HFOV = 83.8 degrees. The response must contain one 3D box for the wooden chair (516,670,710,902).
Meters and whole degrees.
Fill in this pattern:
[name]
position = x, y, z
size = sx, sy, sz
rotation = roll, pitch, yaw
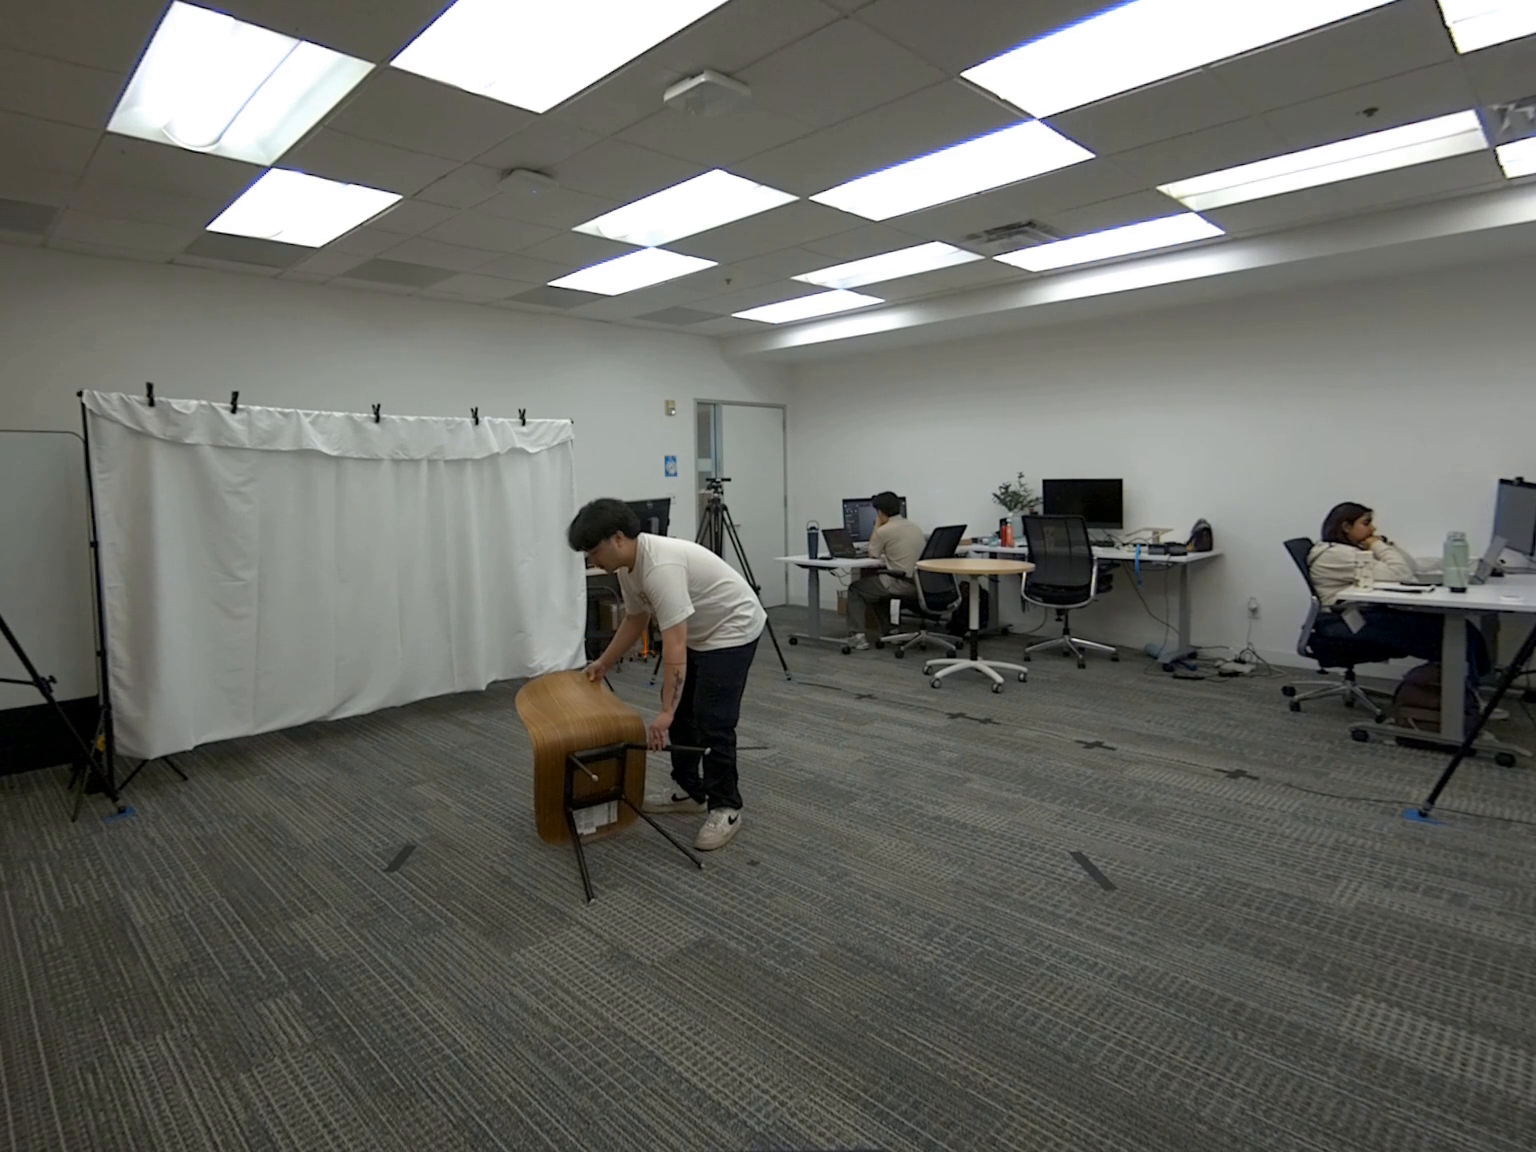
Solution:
[wooden chair]
position = -0.648, 0.766, 3.252
size = 0.466, 0.517, 0.909
rotation = -5, 17, -36
